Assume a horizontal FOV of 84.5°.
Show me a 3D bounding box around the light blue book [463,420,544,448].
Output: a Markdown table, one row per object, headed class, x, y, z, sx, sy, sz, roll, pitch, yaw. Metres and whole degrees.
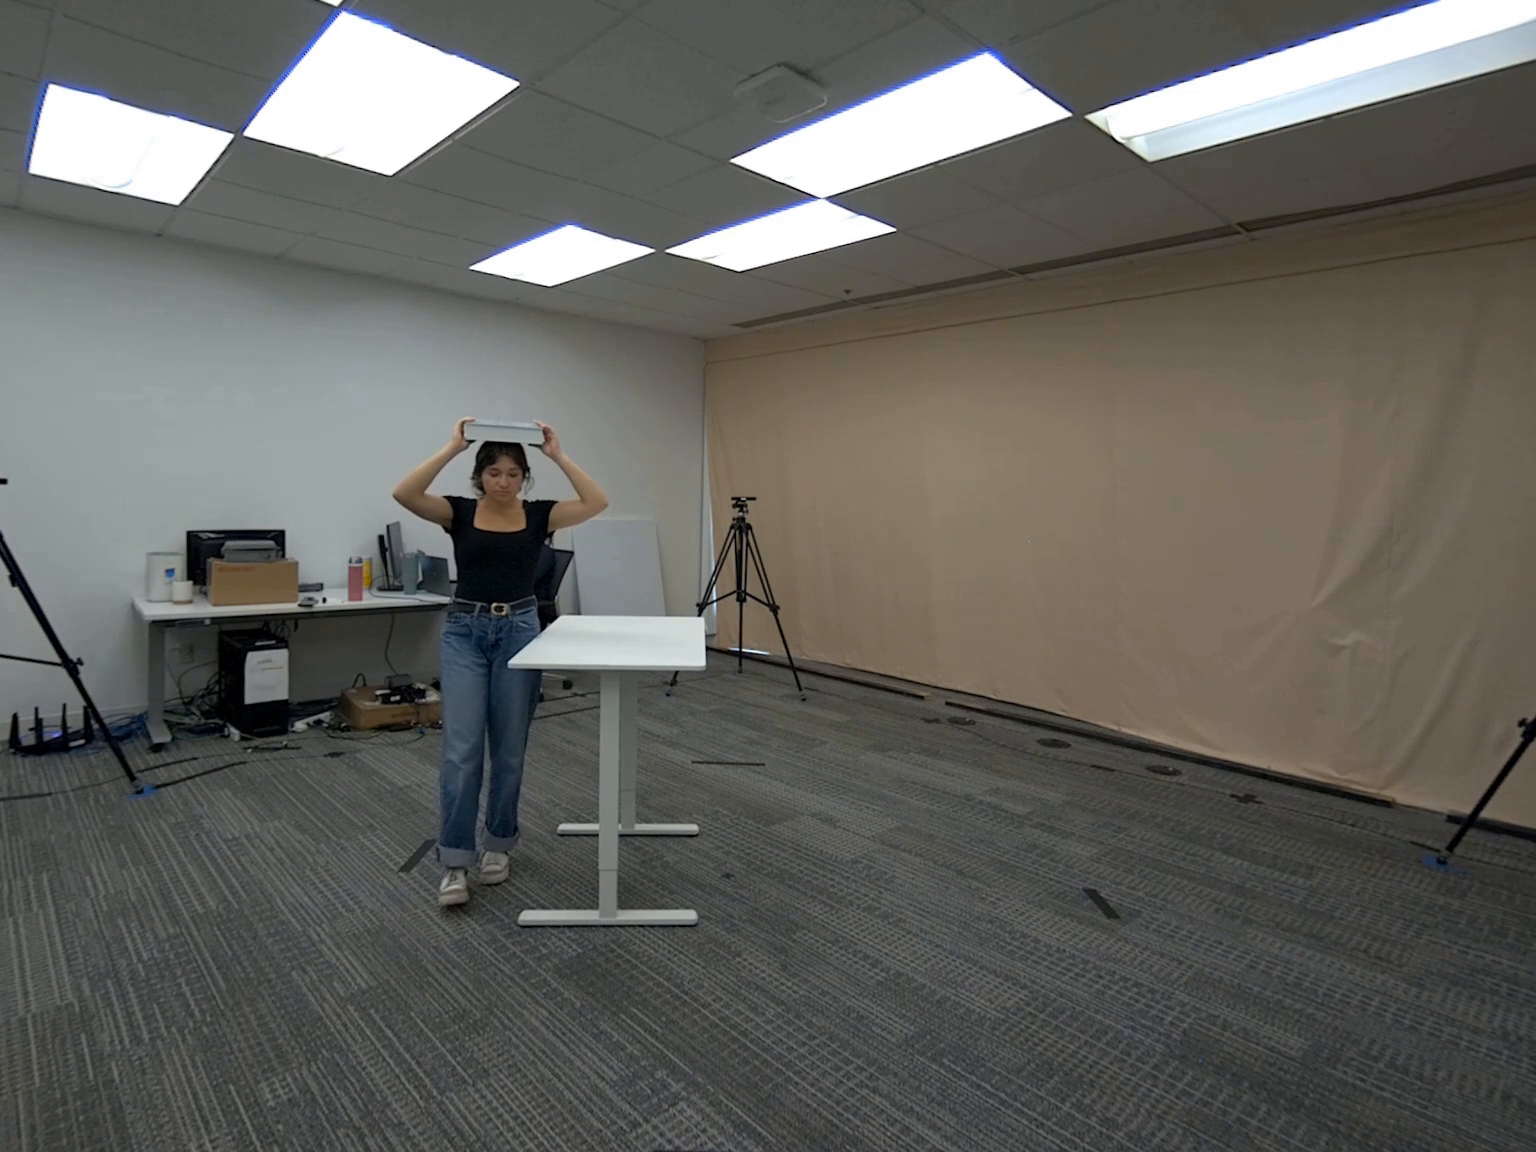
| class | x | y | z | sx | sy | sz | roll | pitch | yaw |
| --- | --- | --- | --- | --- | --- | --- | --- | --- | --- |
| light blue book | -0.957 | -0.520 | 3.011 | 0.257 | 0.058 | 0.195 | 1 | 13 | -19 |
